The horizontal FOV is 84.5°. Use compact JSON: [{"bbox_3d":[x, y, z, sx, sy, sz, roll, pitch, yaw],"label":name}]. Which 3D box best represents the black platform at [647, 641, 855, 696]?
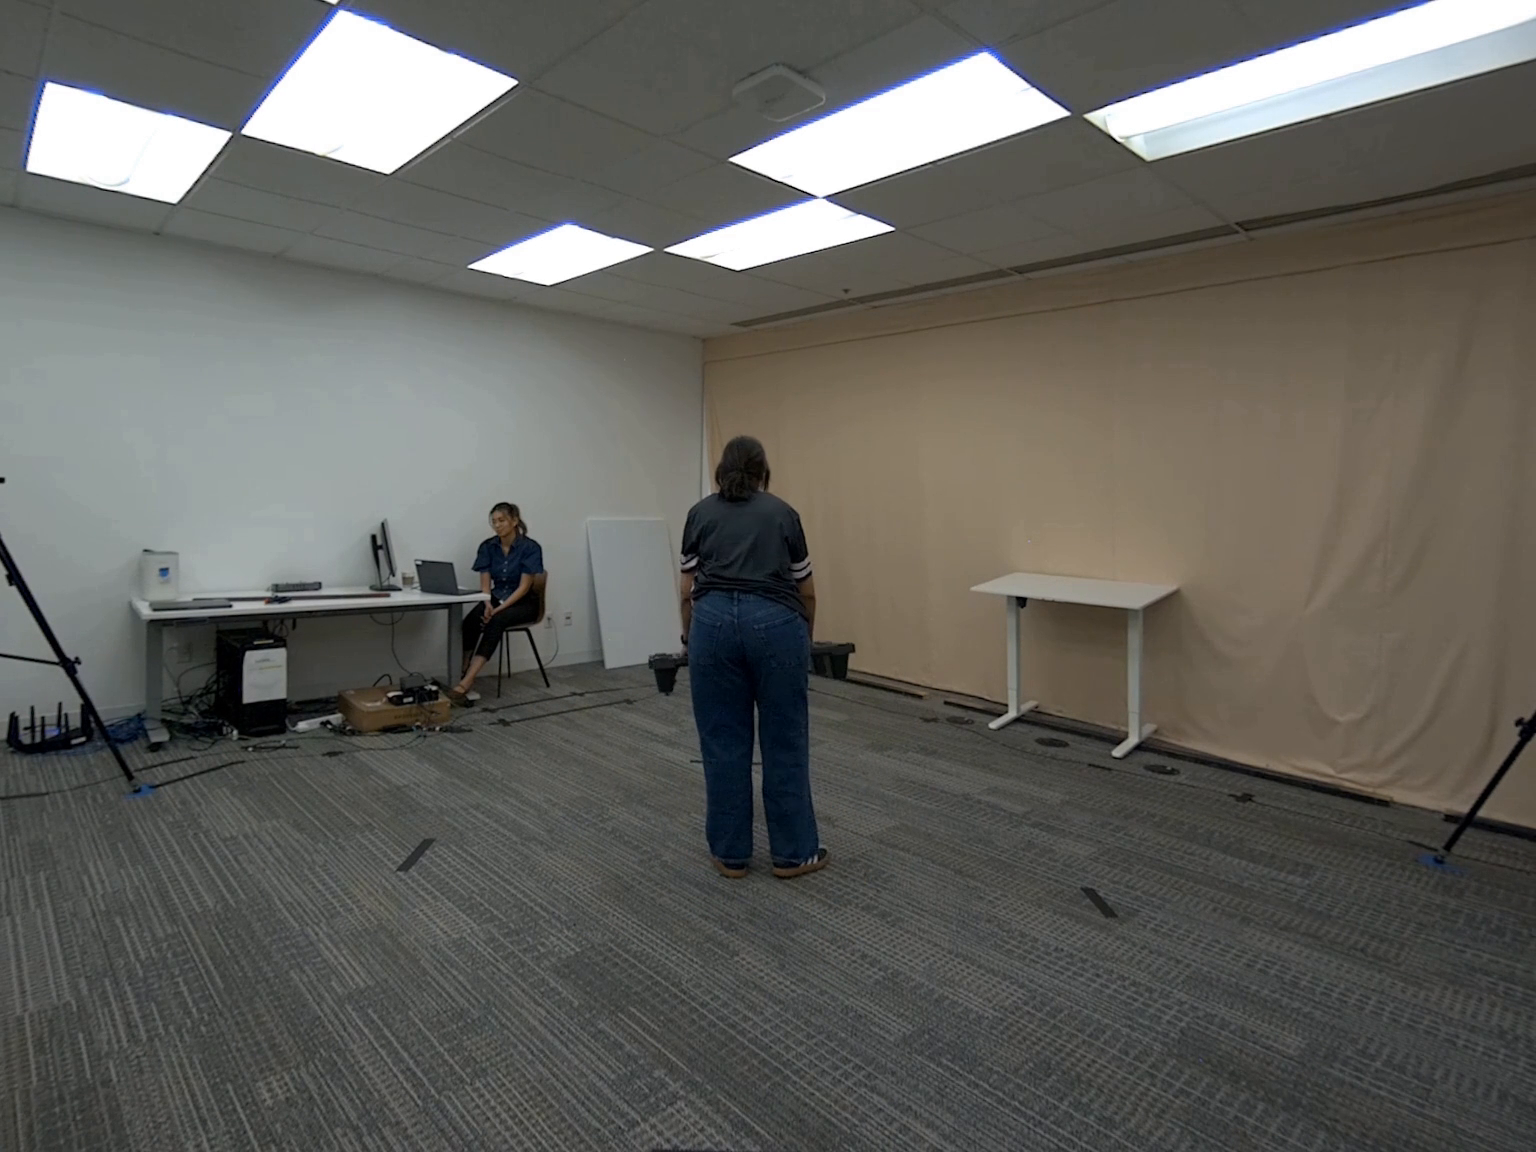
[{"bbox_3d":[-0.101,0.377,3.497,0.802,0.144,0.605,-3,-3,-6],"label":"black platform"}]
